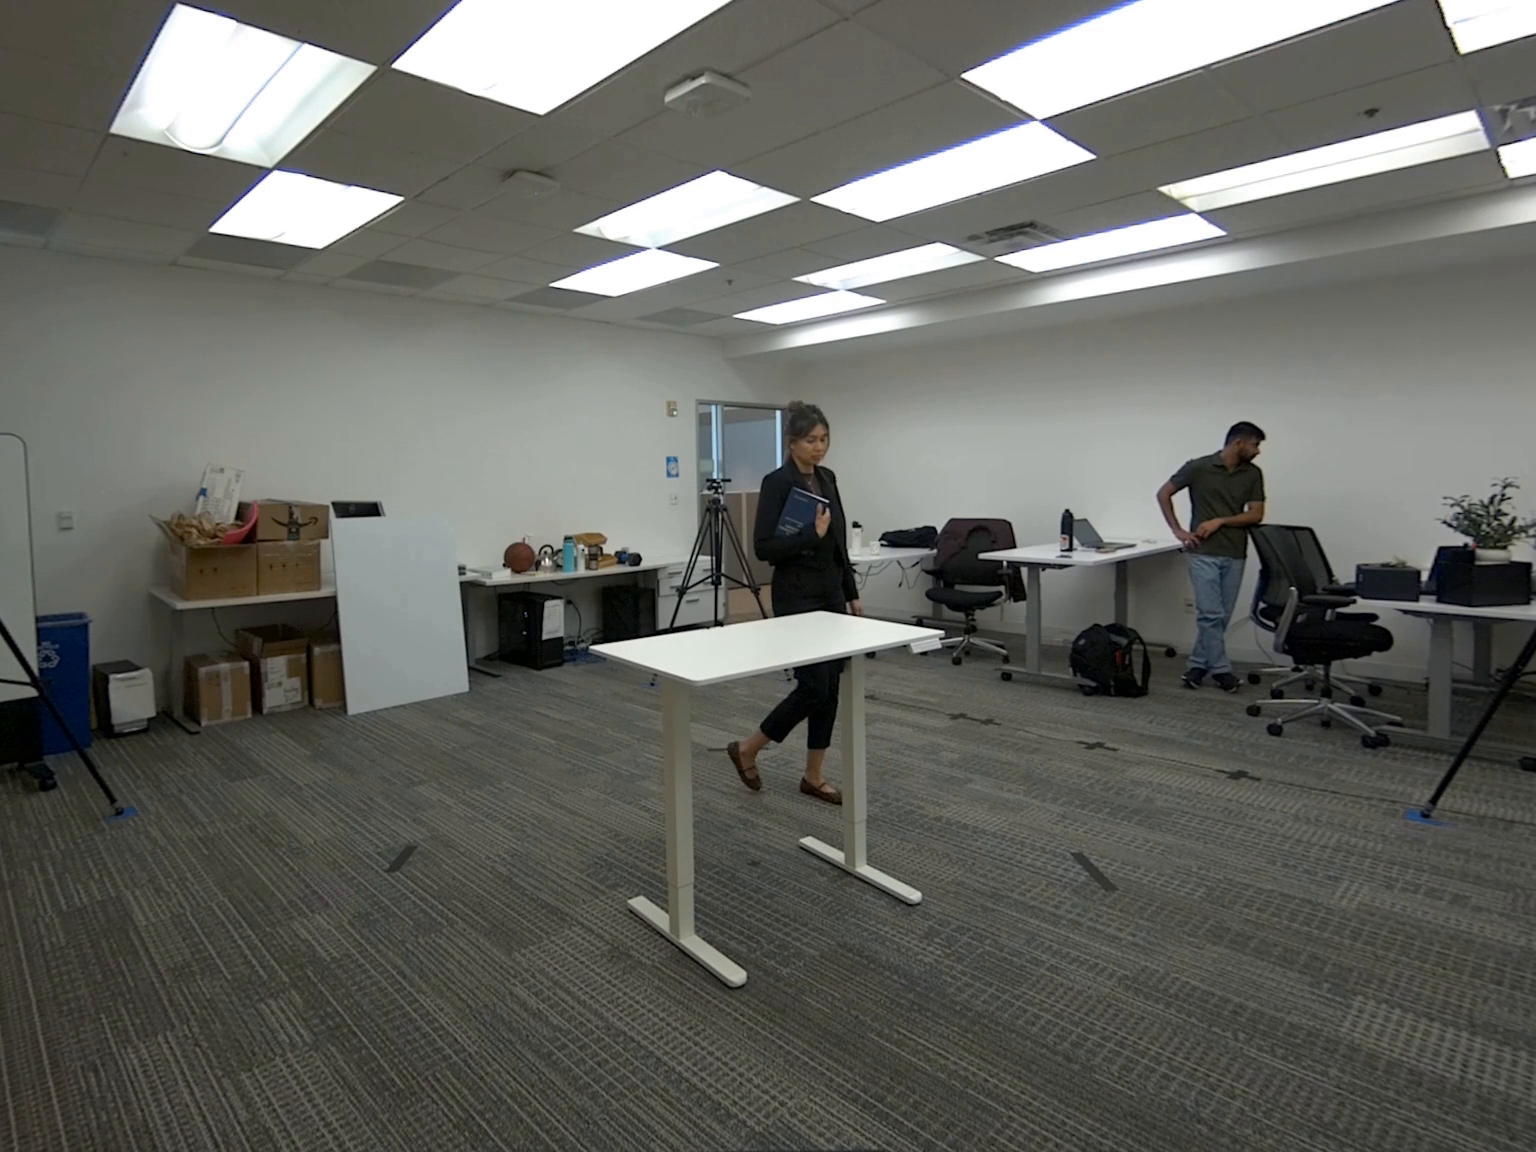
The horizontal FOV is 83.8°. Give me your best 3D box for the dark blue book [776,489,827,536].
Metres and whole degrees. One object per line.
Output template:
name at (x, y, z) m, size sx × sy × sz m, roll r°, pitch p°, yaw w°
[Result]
dark blue book at (0.118, -0.222, 3.541) m, size 0.165 × 0.243 × 0.045 m, roll 24°, pitch 17°, yaw 6°
